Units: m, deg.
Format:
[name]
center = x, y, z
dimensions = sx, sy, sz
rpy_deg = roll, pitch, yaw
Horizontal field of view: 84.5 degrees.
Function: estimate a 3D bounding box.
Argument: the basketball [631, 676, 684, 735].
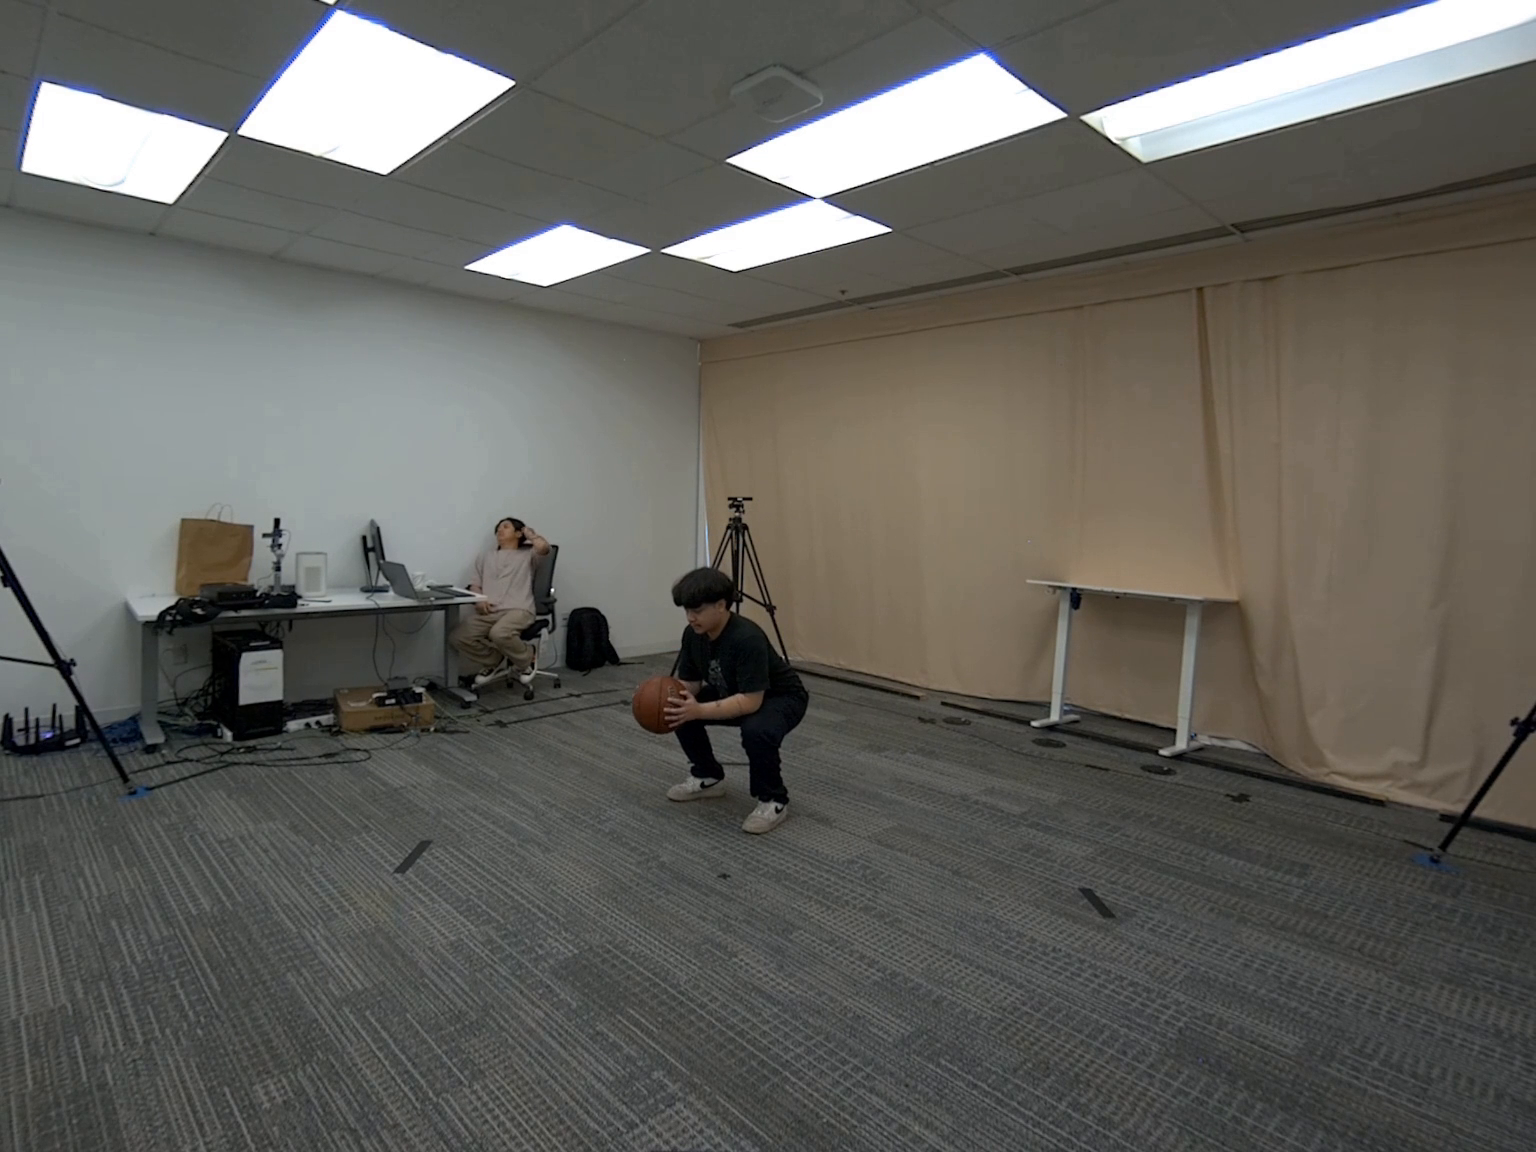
[basketball]
center = -0.456, 0.530, 3.468
dimensions = 0.236, 0.235, 0.237
rpy_deg = 1, 4, -1
